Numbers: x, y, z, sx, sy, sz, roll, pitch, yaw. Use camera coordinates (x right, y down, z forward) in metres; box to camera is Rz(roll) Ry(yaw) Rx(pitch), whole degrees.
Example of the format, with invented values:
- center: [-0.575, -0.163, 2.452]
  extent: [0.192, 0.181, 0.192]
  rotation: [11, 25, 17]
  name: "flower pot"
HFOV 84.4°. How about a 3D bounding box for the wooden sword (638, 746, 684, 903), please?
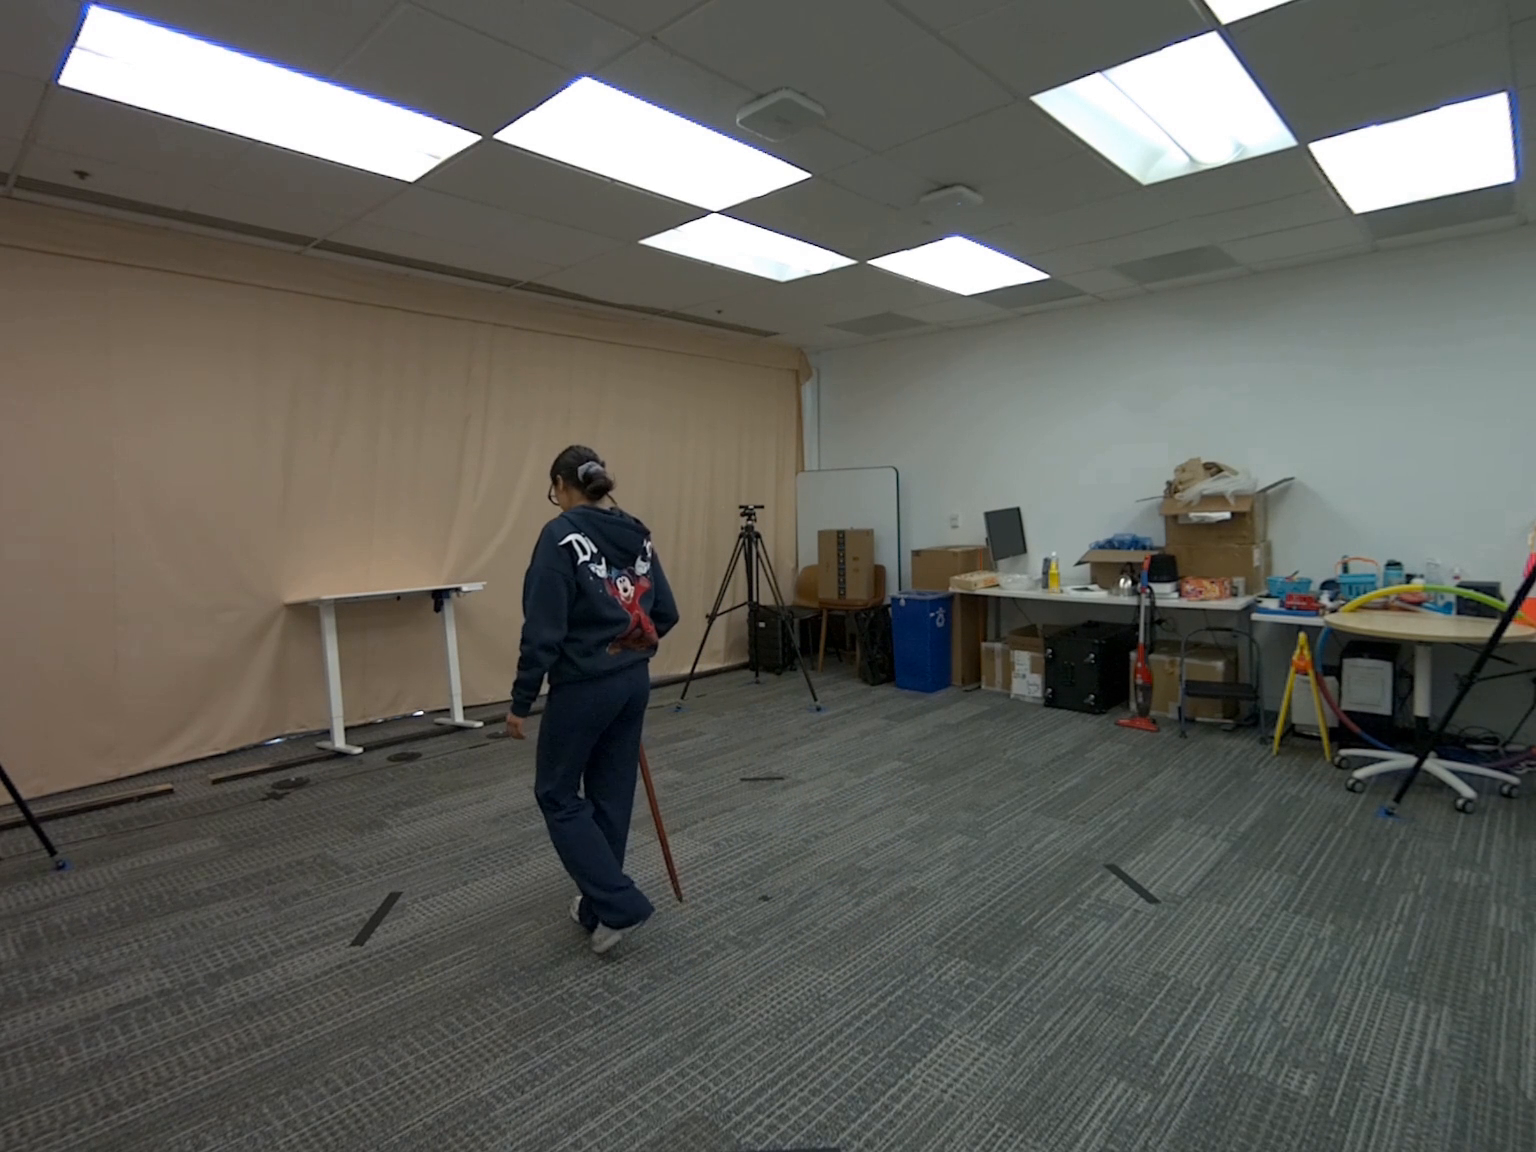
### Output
- center: [-0.440, 0.658, 2.946]
  extent: [0.024, 1.034, 0.051]
  rotation: [-15, -10, -8]
  name: "wooden sword"
